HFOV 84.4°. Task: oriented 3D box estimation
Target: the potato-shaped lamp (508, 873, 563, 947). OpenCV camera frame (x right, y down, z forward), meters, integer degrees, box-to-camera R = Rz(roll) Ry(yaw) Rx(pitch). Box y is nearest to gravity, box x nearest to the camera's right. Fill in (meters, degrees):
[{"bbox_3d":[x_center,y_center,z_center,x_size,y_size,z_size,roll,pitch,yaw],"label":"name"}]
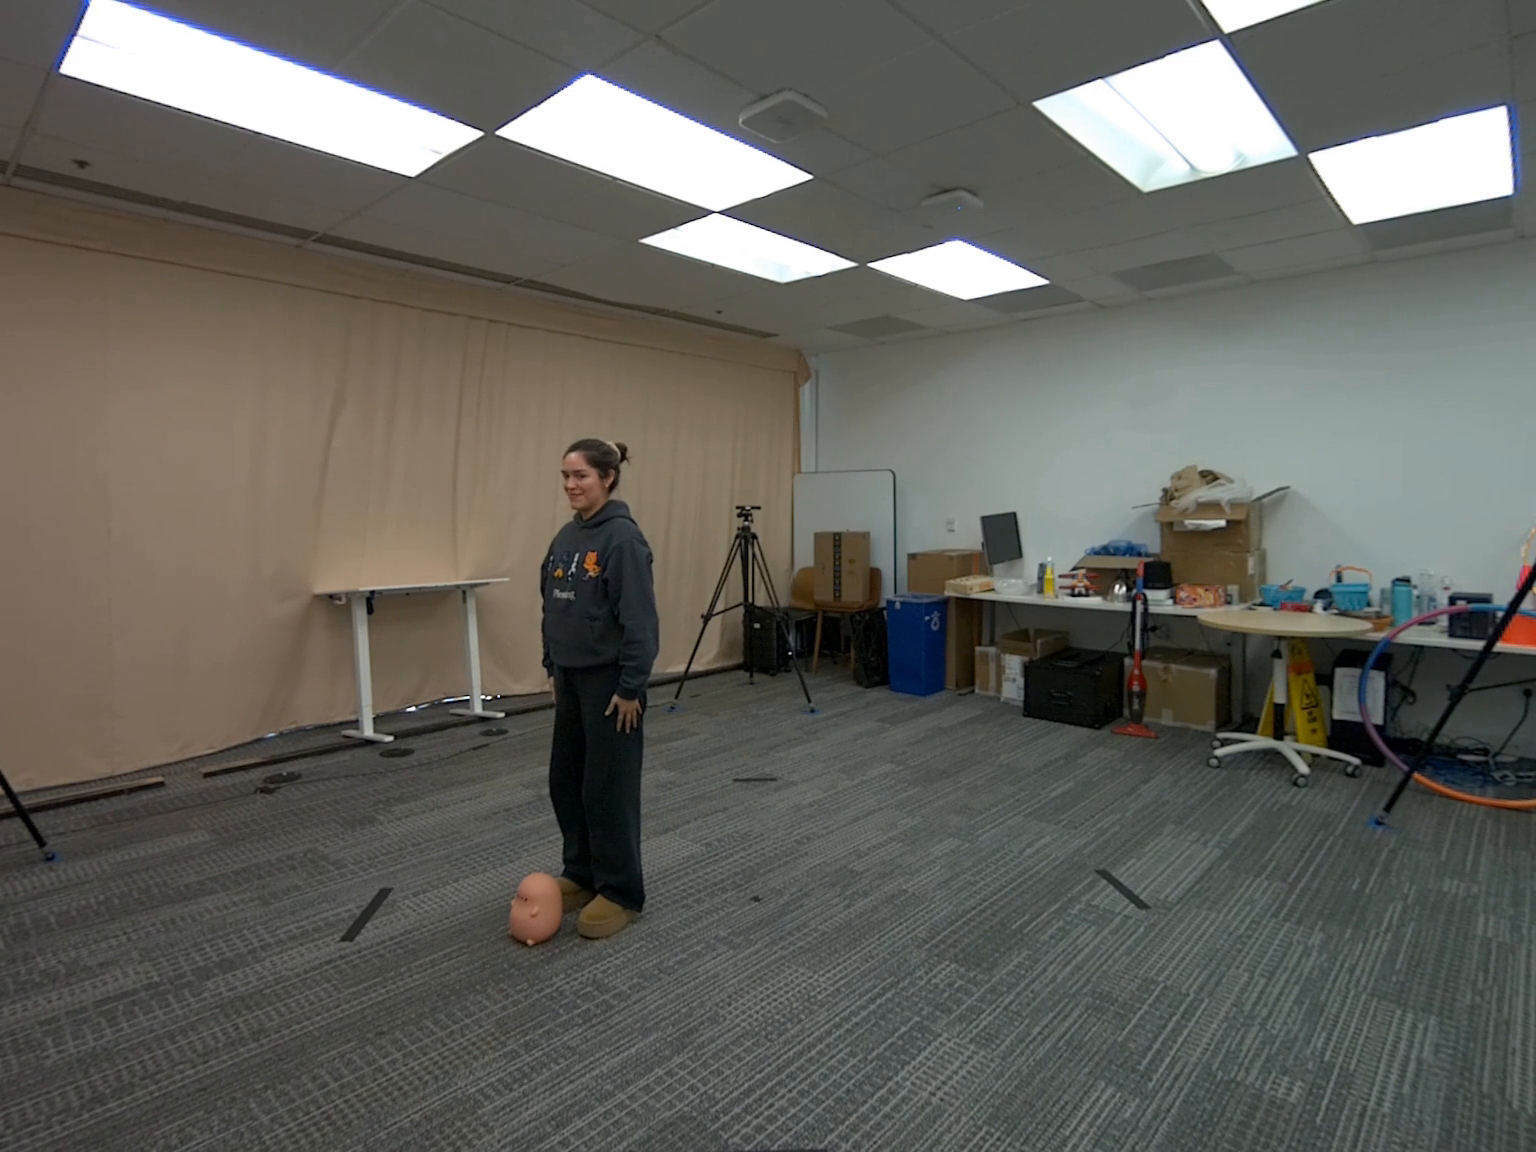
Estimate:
[{"bbox_3d":[-0.734,1.067,2.745,0.170,0.198,0.166,2,4,40],"label":"potato-shaped lamp"}]
